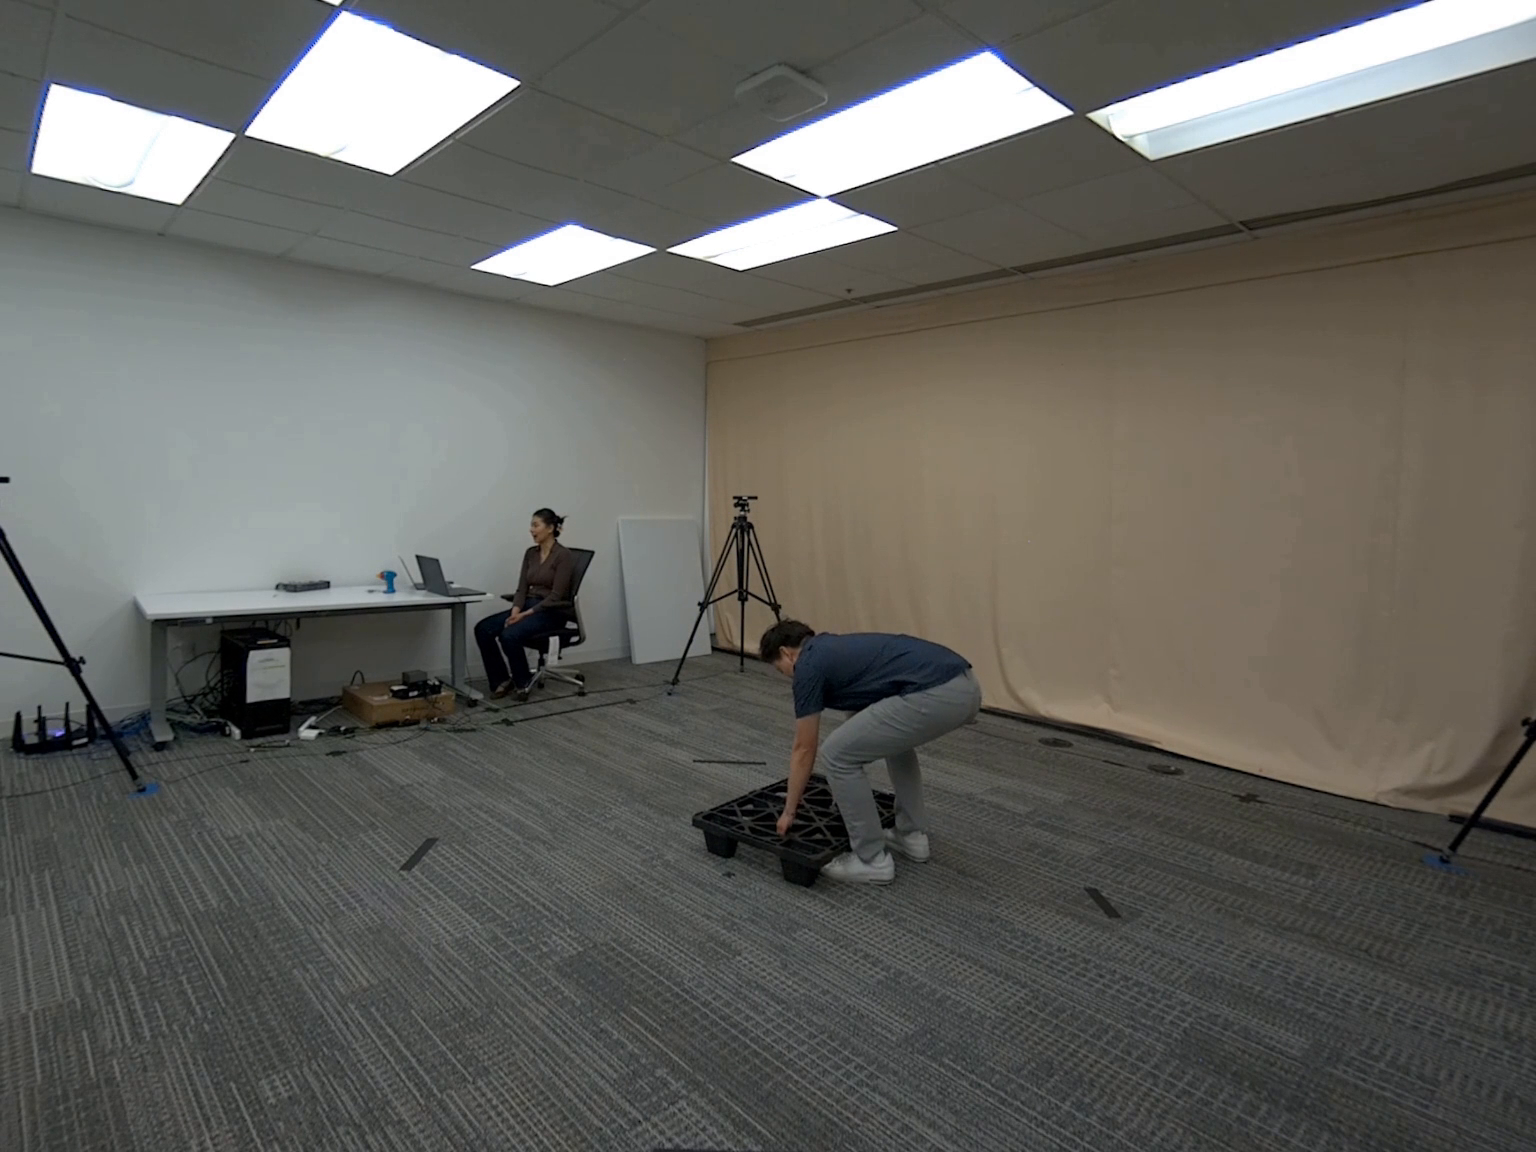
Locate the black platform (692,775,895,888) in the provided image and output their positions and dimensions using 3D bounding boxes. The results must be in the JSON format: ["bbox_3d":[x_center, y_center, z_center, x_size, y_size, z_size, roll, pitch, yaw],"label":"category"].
[{"bbox_3d":[0.164,1.010,3.431,0.620,0.143,0.788,5,6,37],"label":"black platform"}]
